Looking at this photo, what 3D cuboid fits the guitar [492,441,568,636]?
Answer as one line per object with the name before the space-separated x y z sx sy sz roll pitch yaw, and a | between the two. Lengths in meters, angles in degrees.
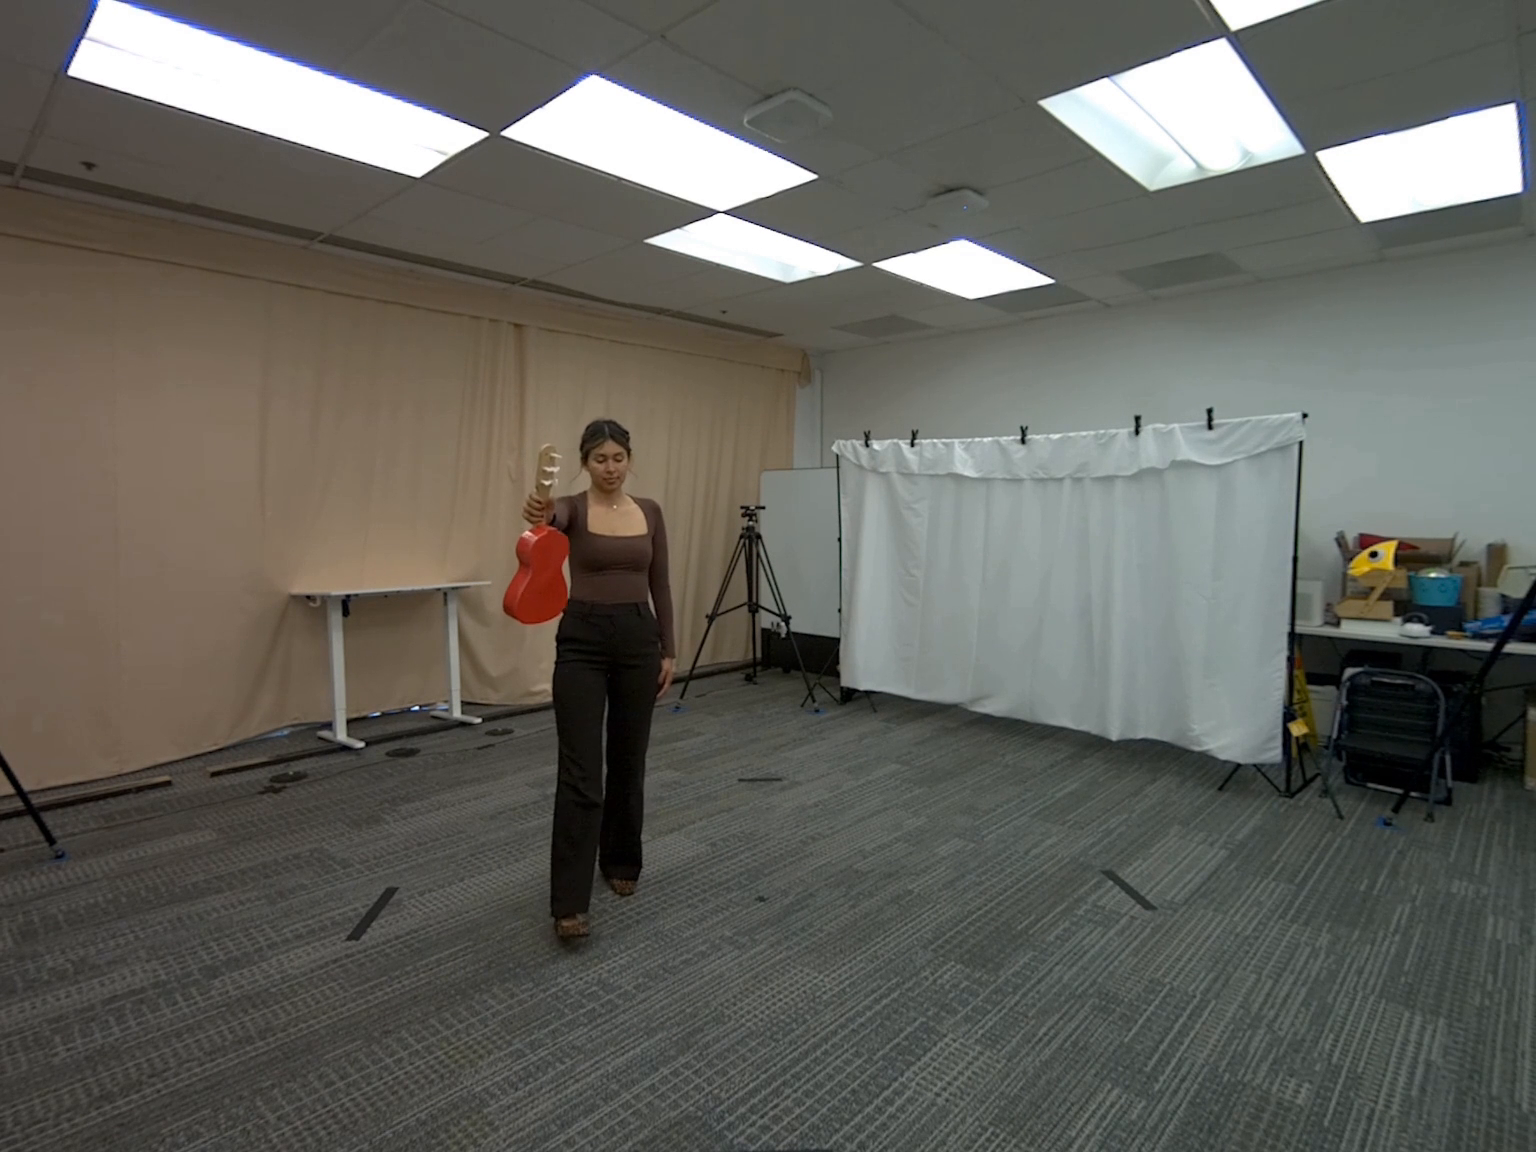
guitar | -0.644 -0.106 2.325 0.073 0.492 0.189 16 24 30
